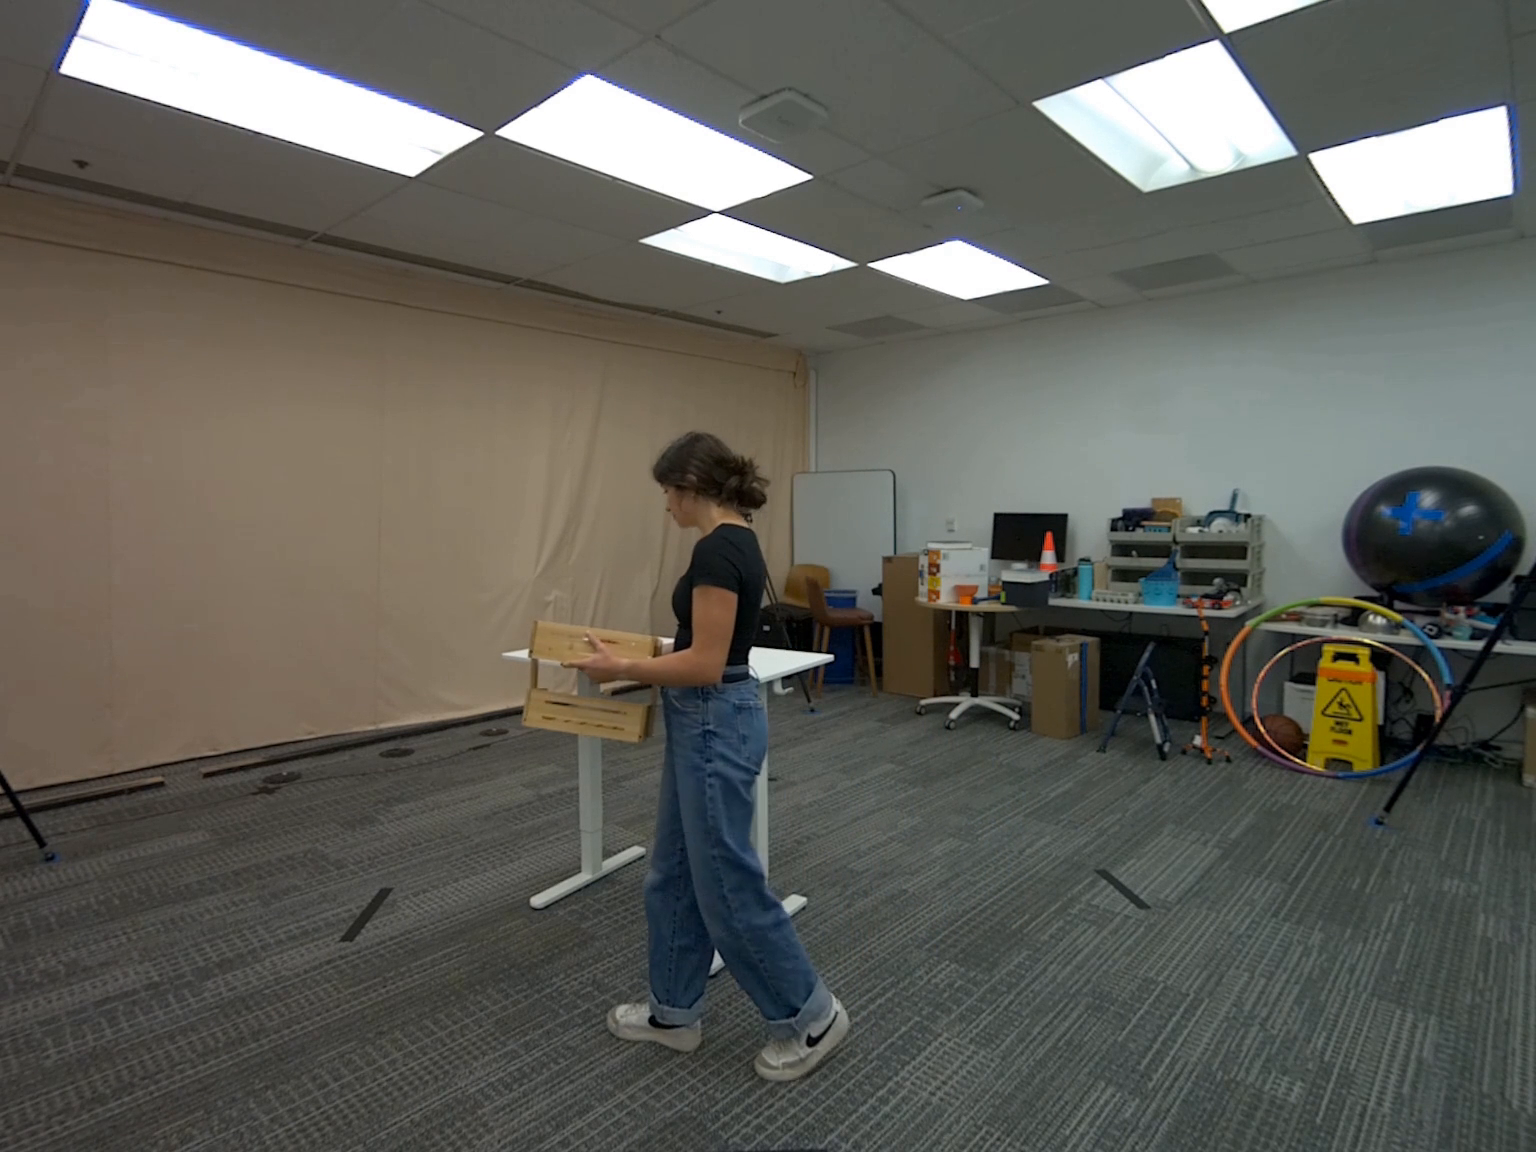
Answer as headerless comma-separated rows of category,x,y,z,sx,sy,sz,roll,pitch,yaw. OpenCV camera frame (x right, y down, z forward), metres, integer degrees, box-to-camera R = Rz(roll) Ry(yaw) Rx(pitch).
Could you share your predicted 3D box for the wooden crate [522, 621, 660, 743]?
wooden crate,-0.433,0.267,2.186,0.325,0.274,0.300,7,-8,0
